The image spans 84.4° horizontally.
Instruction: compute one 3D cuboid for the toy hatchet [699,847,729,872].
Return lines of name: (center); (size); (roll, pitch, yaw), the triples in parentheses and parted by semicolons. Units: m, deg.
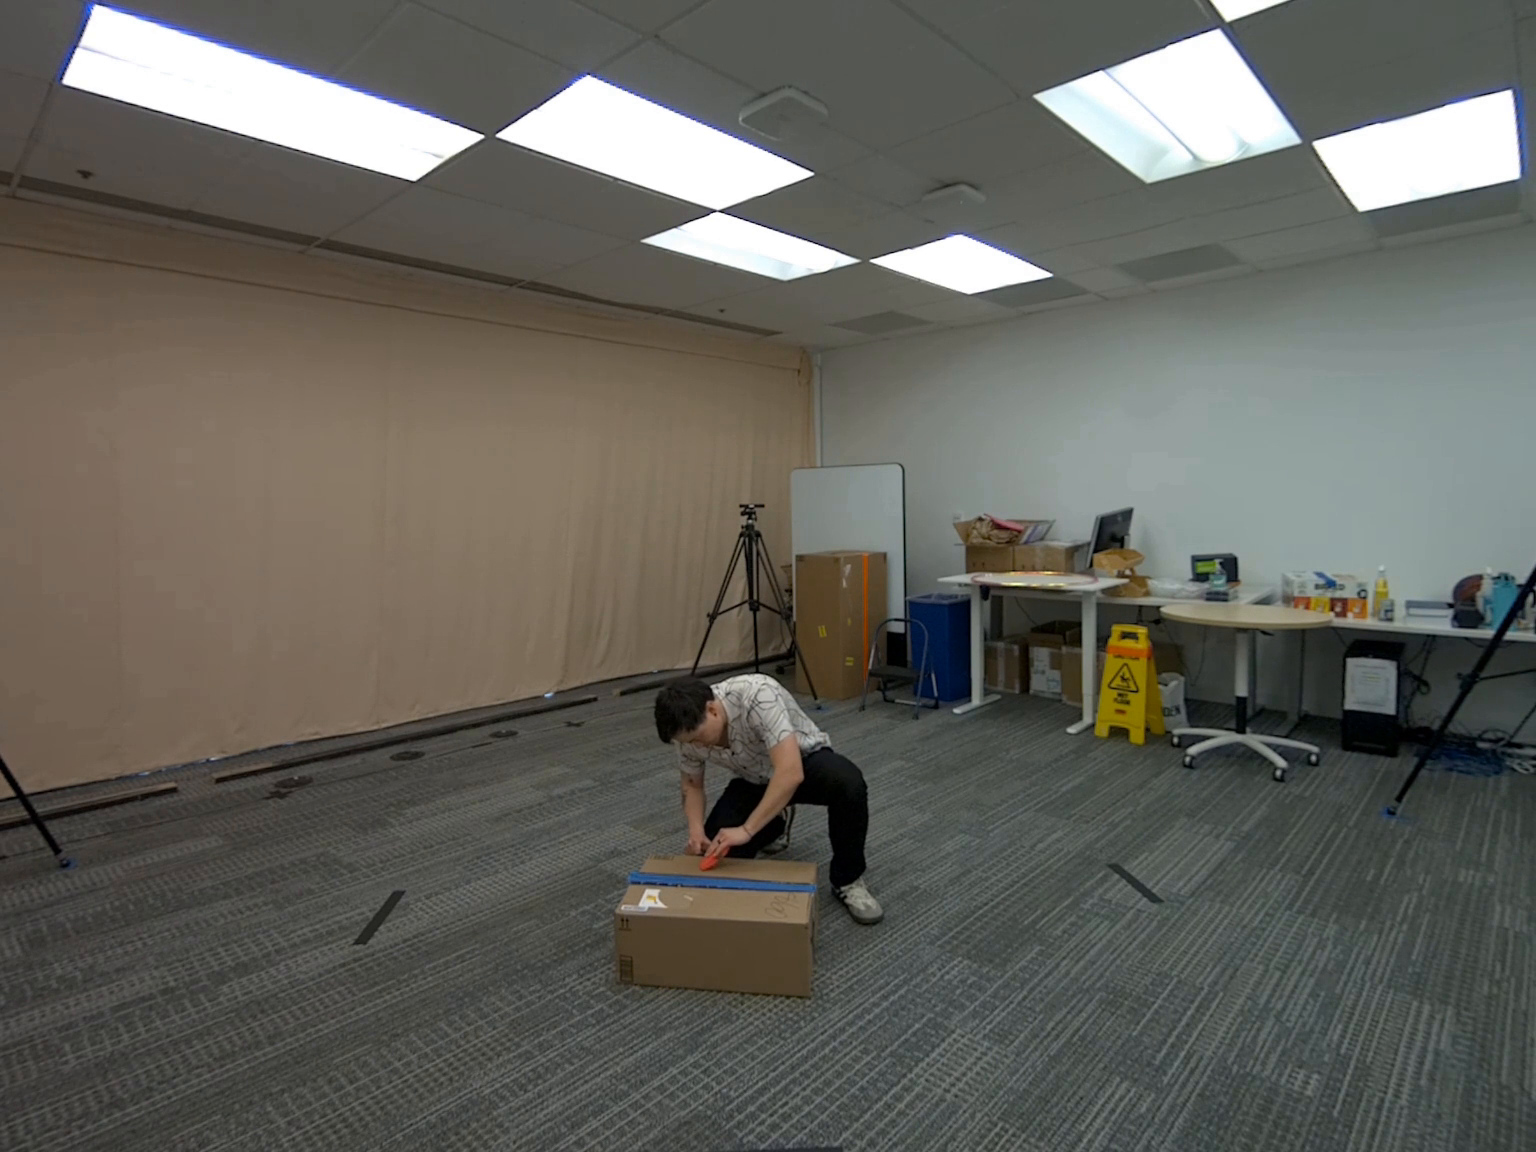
toy hatchet: (-0.207, 0.923, 2.809); (0.130, 0.029, 0.274); (-46, 10, -29)
